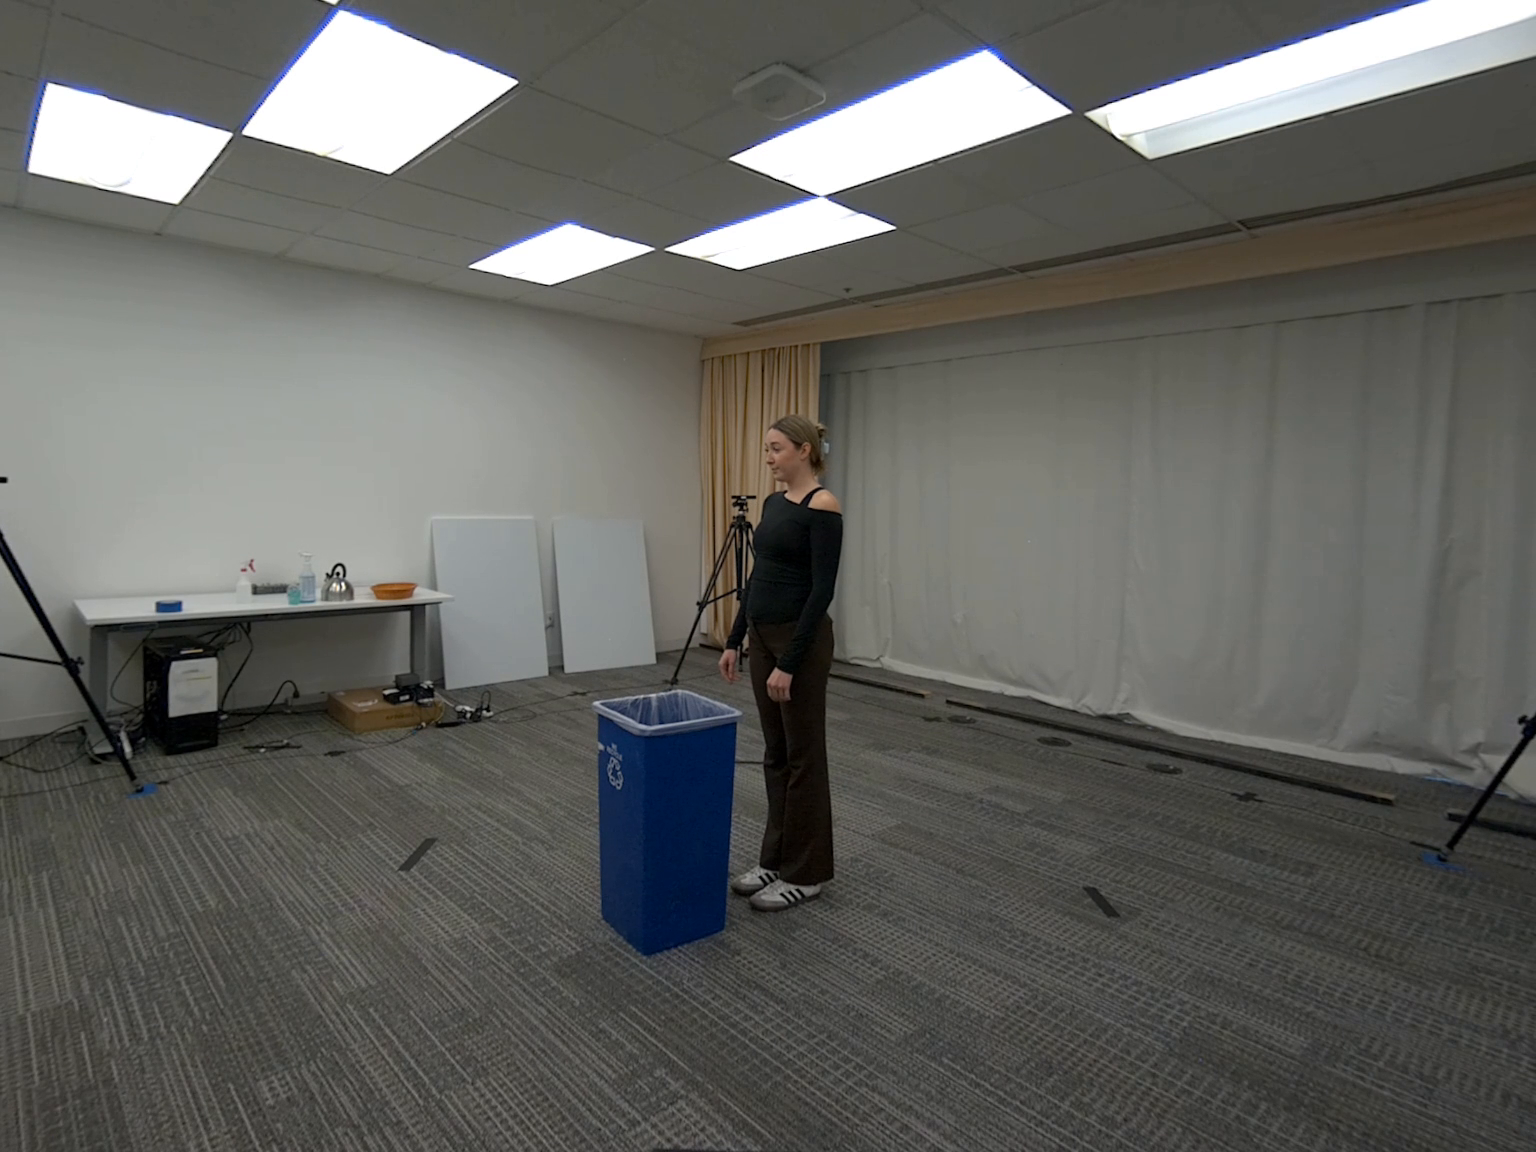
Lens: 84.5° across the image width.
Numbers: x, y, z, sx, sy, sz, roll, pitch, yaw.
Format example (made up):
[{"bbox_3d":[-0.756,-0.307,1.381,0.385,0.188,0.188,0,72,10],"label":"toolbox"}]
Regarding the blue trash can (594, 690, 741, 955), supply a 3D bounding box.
[{"bbox_3d":[-0.335,0.779,2.709,0.370,0.712,0.383,-1,4,-36],"label":"blue trash can"}]
